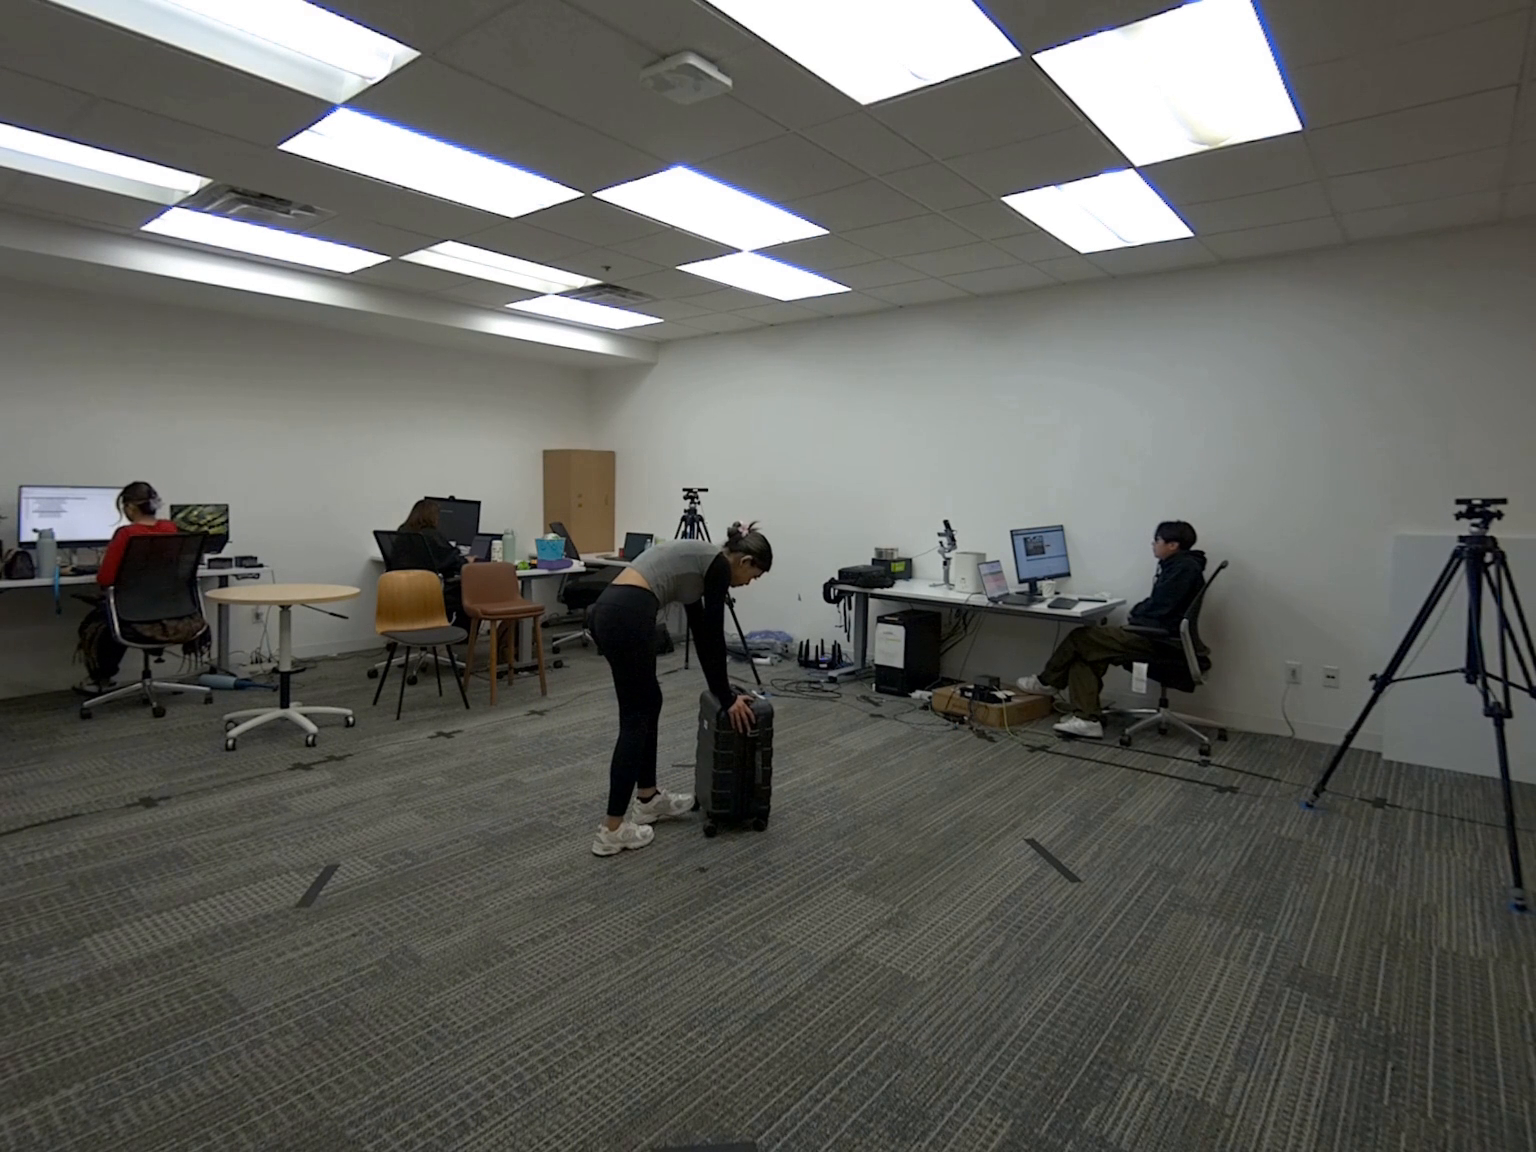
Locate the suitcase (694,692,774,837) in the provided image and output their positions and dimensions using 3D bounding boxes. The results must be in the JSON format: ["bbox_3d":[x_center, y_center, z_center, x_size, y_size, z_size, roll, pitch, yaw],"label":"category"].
[{"bbox_3d":[-0.163,0.749,3.577,0.244,0.548,0.383,1,4,-18],"label":"suitcase"}]
